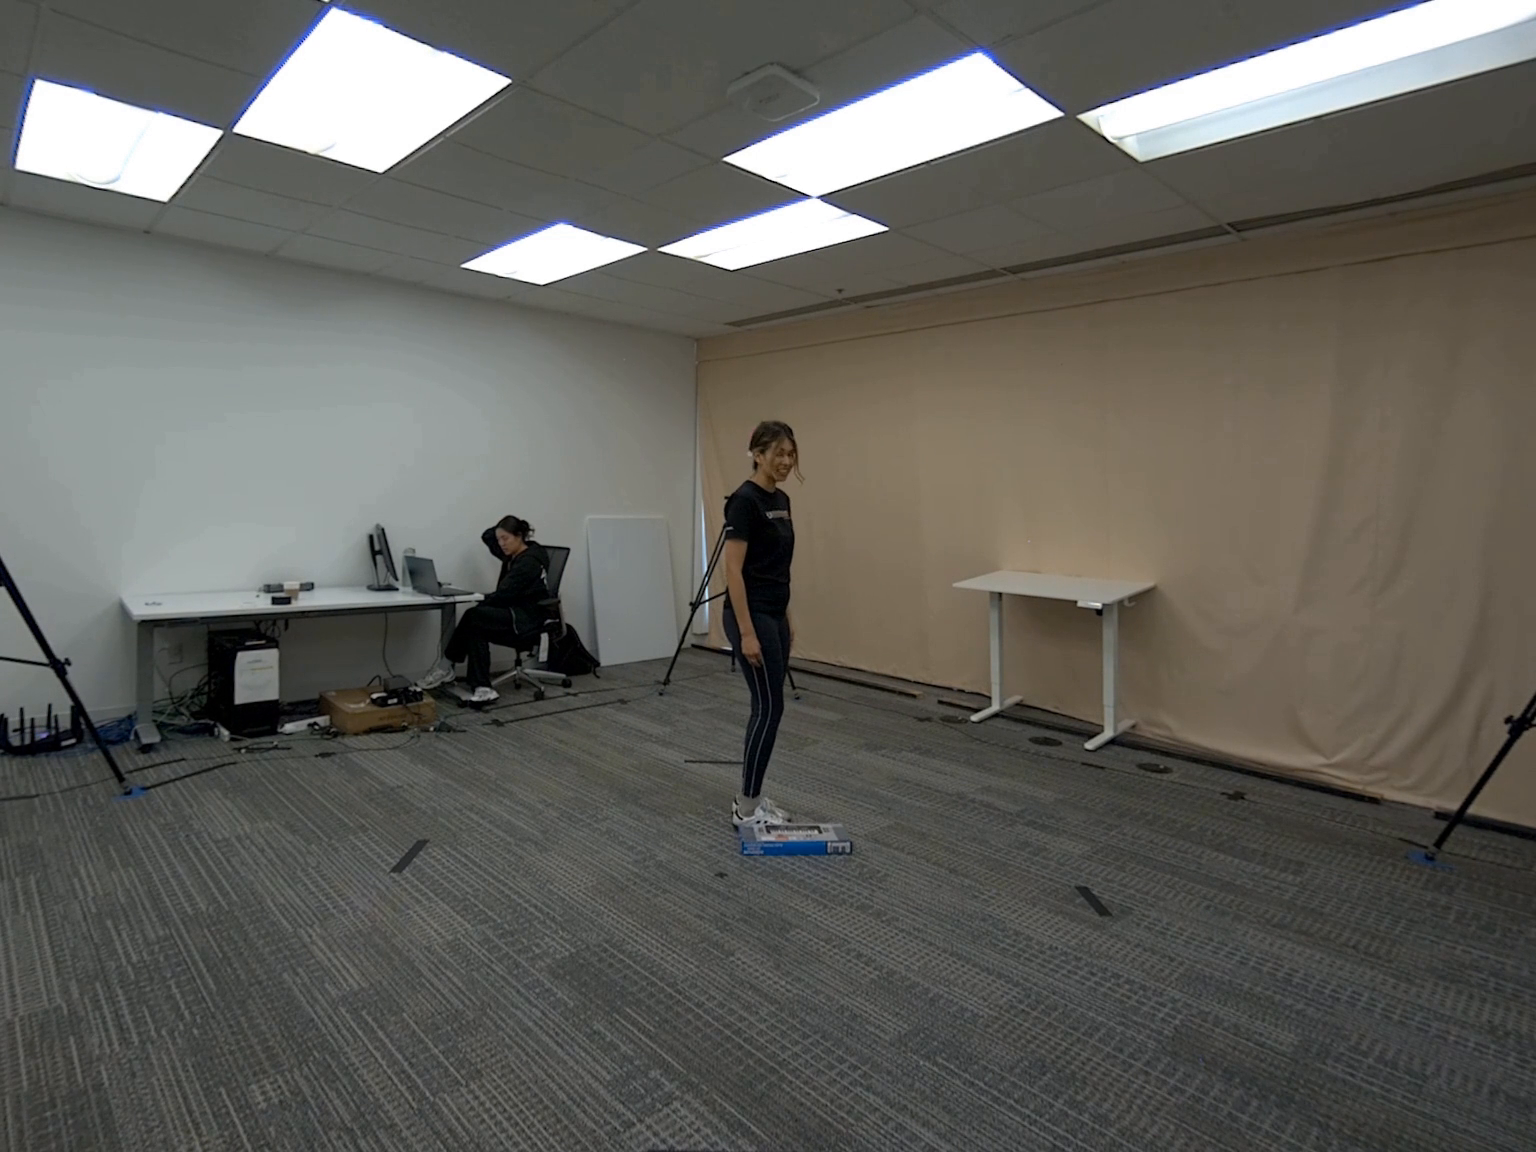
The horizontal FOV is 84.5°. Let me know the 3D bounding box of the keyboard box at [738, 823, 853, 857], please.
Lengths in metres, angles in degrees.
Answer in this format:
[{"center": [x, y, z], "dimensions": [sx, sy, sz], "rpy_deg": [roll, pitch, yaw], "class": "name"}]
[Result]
[{"center": [0.102, 1.055, 3.367], "dimensions": [0.435, 0.059, 0.177], "rpy_deg": [1, 6, -4], "class": "keyboard box"}]
